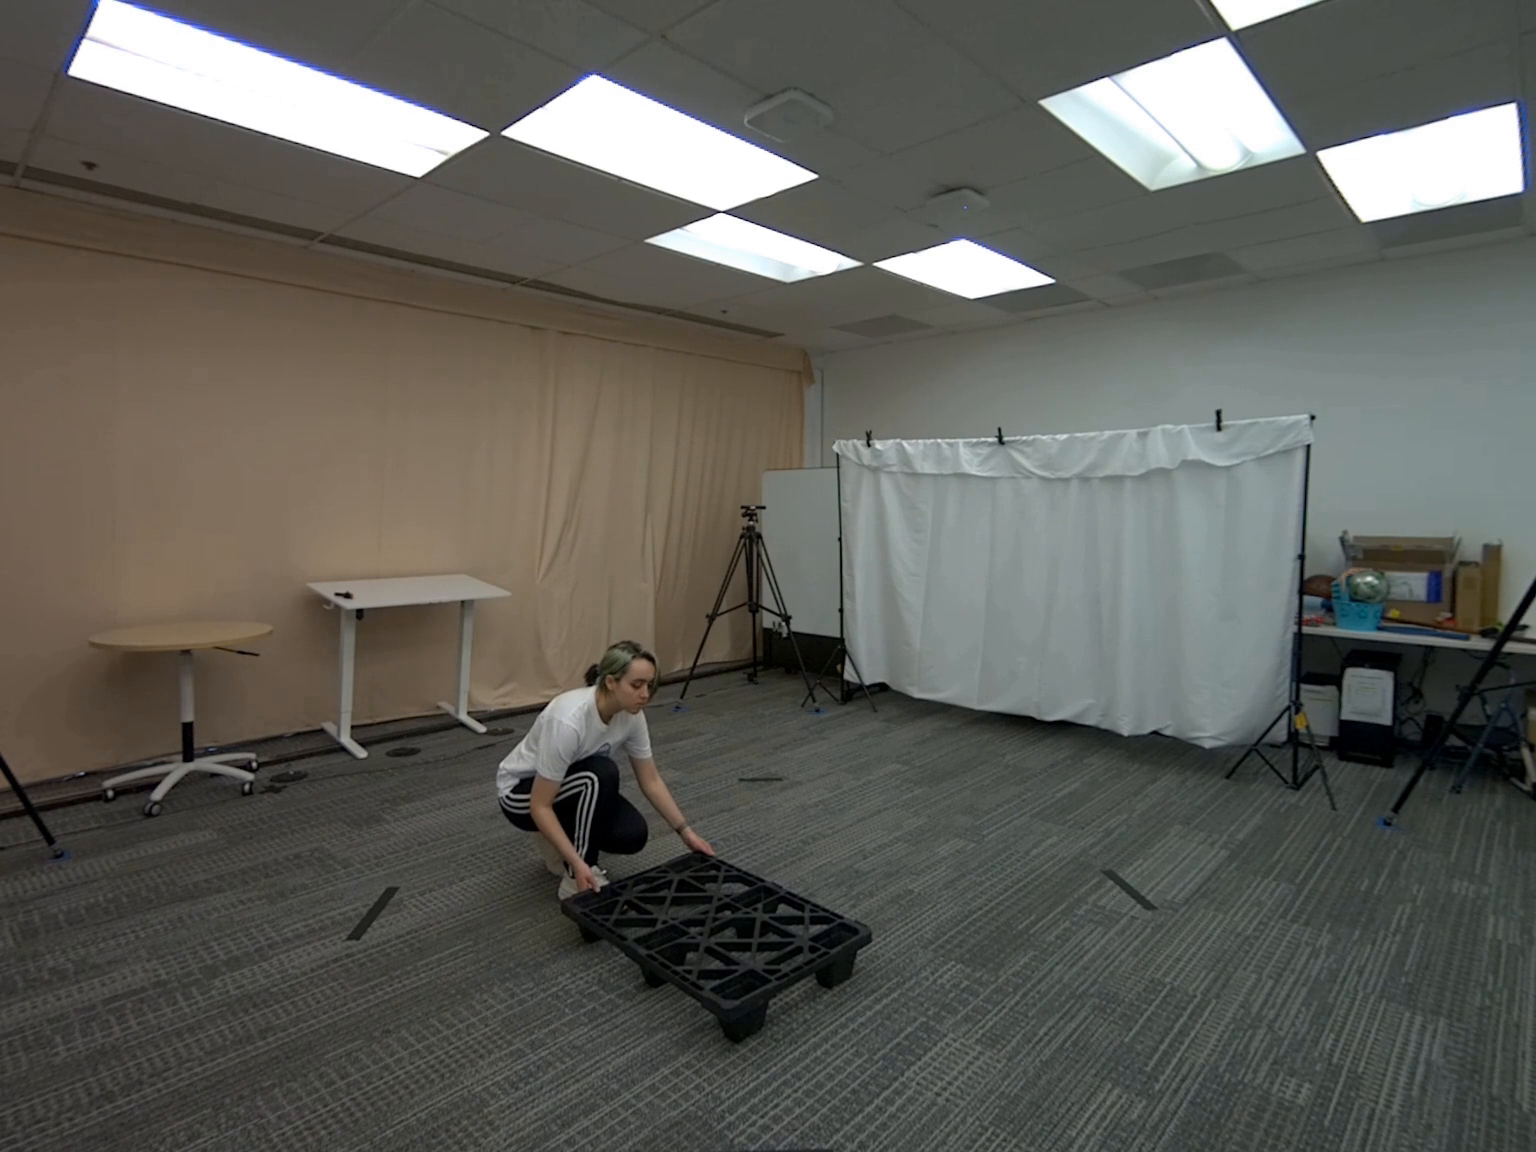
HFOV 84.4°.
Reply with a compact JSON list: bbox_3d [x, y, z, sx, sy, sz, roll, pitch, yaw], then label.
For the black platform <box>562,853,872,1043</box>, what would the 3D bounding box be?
[{"bbox_3d":[-0.169,1.113,2.588,0.587,0.143,0.832,-5,7,-44],"label":"black platform"}]
